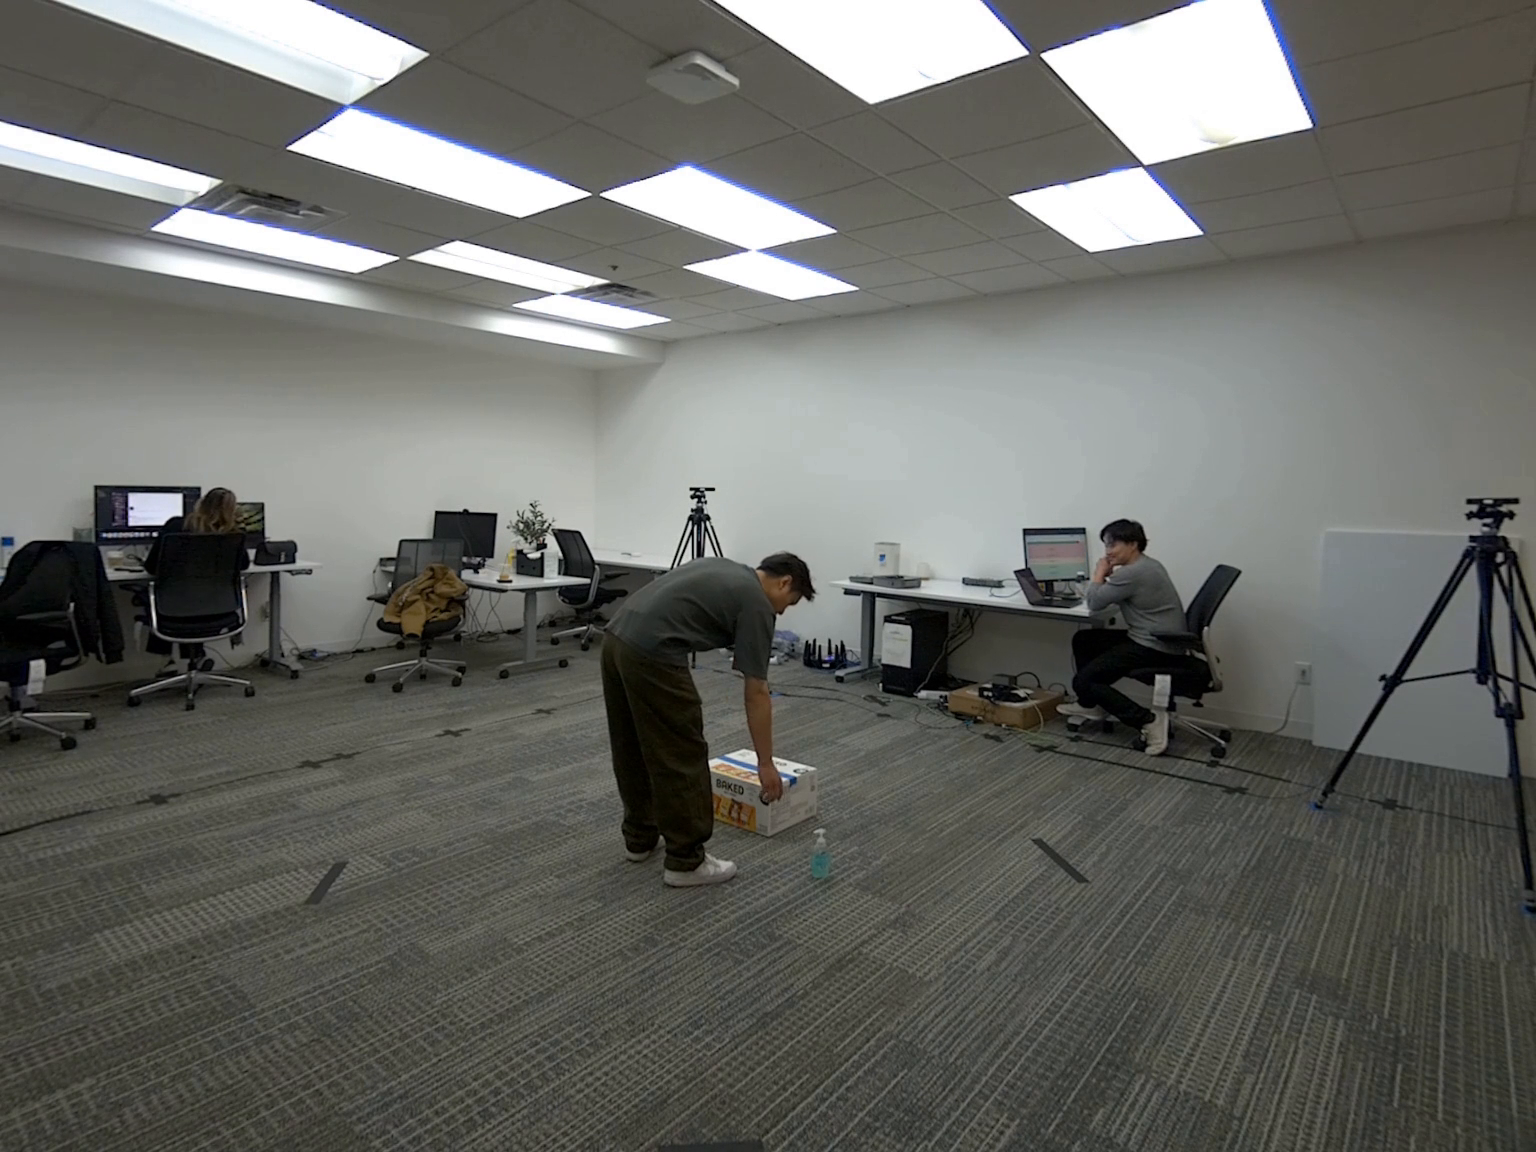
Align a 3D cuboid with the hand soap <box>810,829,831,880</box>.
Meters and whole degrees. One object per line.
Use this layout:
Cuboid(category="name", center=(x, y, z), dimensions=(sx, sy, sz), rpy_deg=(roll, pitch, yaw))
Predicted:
Cuboid(category="hand soap", center=(0.182, 1.003, 3.064), dimensions=(0.082, 0.167, 0.045), rpy_deg=(2, 6, -27))
